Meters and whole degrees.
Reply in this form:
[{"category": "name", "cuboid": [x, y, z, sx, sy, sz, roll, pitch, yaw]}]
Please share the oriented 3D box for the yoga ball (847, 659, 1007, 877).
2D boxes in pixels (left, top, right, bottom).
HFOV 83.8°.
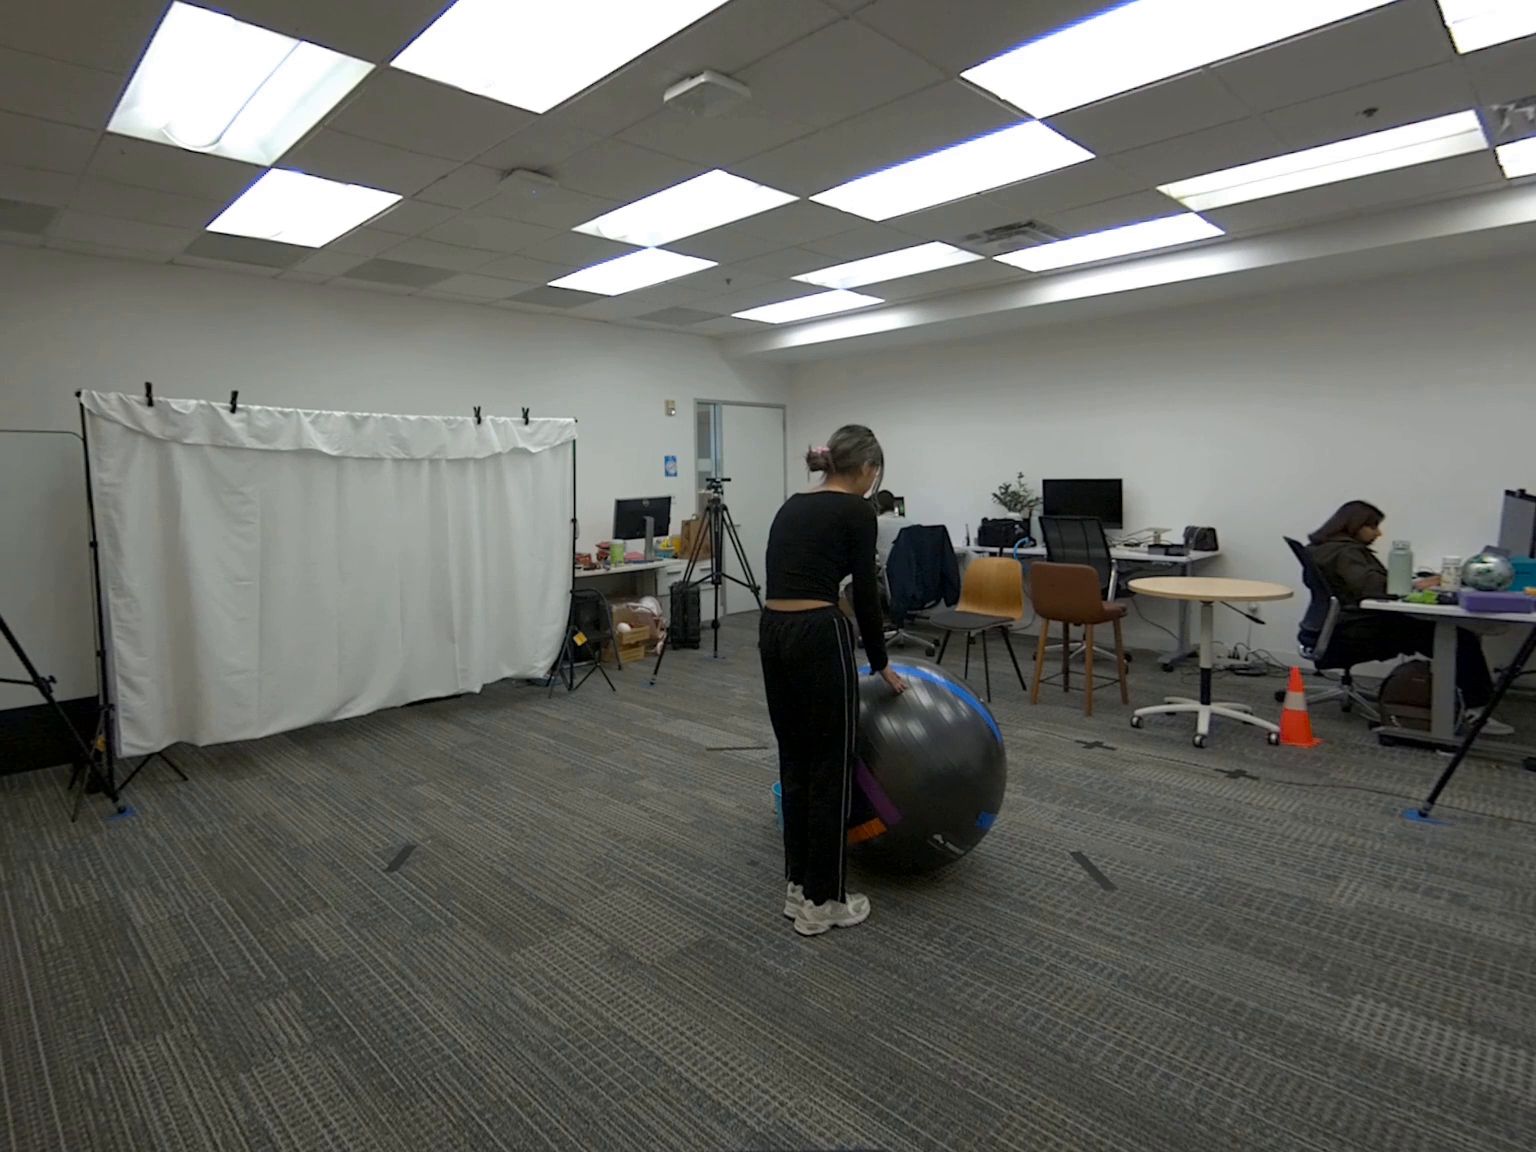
[{"category": "yoga ball", "cuboid": [0.478, 0.677, 3.078, 0.757, 0.755, 0.762, -1, 5, -2]}]
